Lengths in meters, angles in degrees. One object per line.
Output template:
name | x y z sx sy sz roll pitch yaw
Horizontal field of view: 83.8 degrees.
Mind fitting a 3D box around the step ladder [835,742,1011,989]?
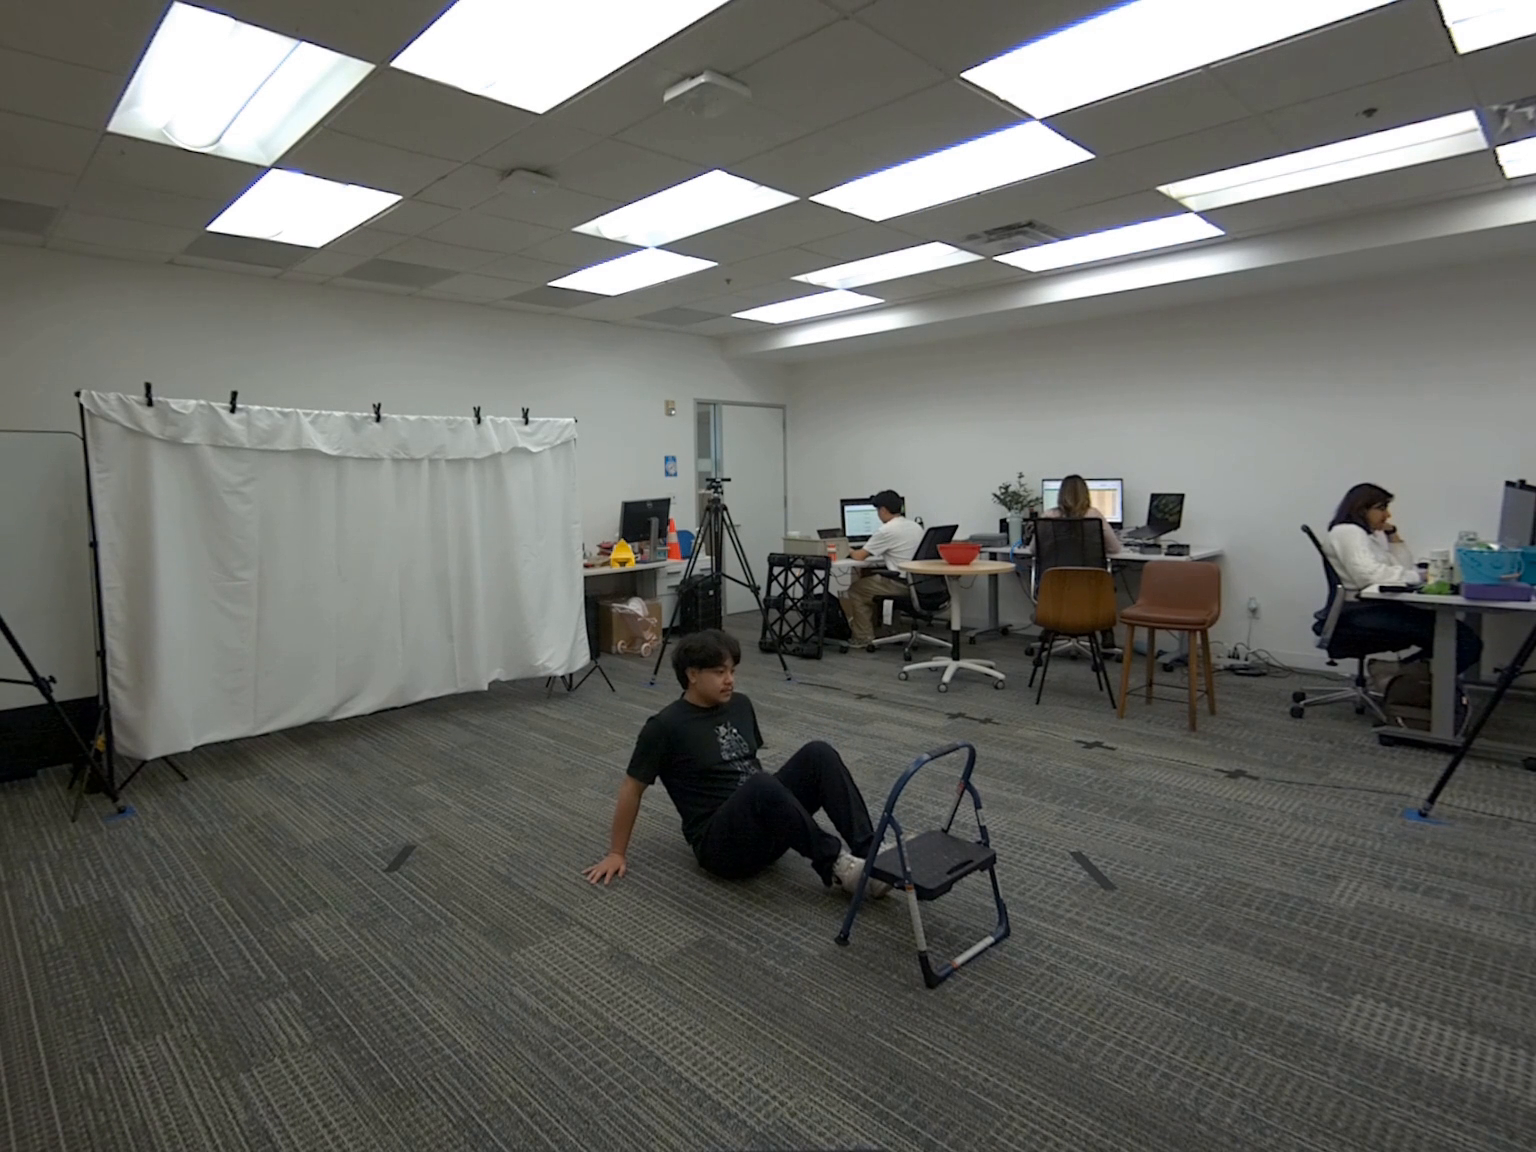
step ladder | 0.471 0.794 2.561 0.419 0.604 0.360 -6 6 -44
